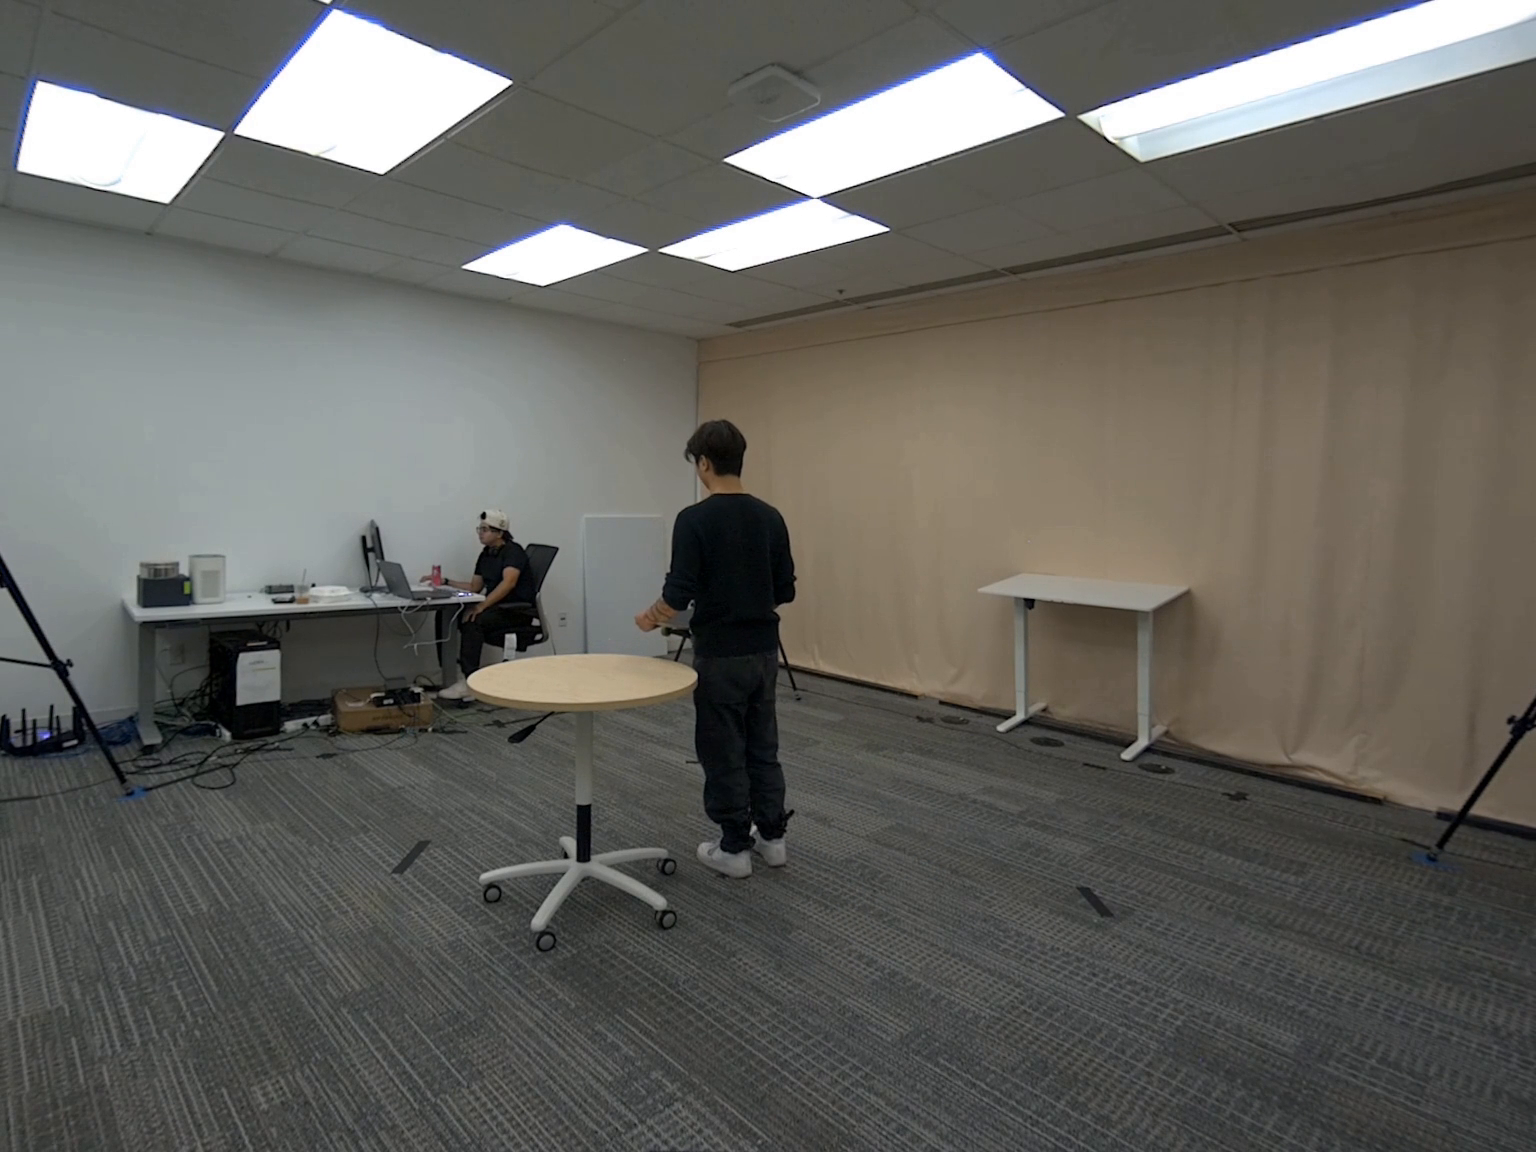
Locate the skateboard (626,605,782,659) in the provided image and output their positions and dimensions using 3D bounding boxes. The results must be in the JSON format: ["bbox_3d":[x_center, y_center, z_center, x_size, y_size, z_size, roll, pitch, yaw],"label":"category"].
[{"bbox_3d":[-0.242,0.193,3.488,0.198,0.109,0.770,13,13,32],"label":"skateboard"}]
